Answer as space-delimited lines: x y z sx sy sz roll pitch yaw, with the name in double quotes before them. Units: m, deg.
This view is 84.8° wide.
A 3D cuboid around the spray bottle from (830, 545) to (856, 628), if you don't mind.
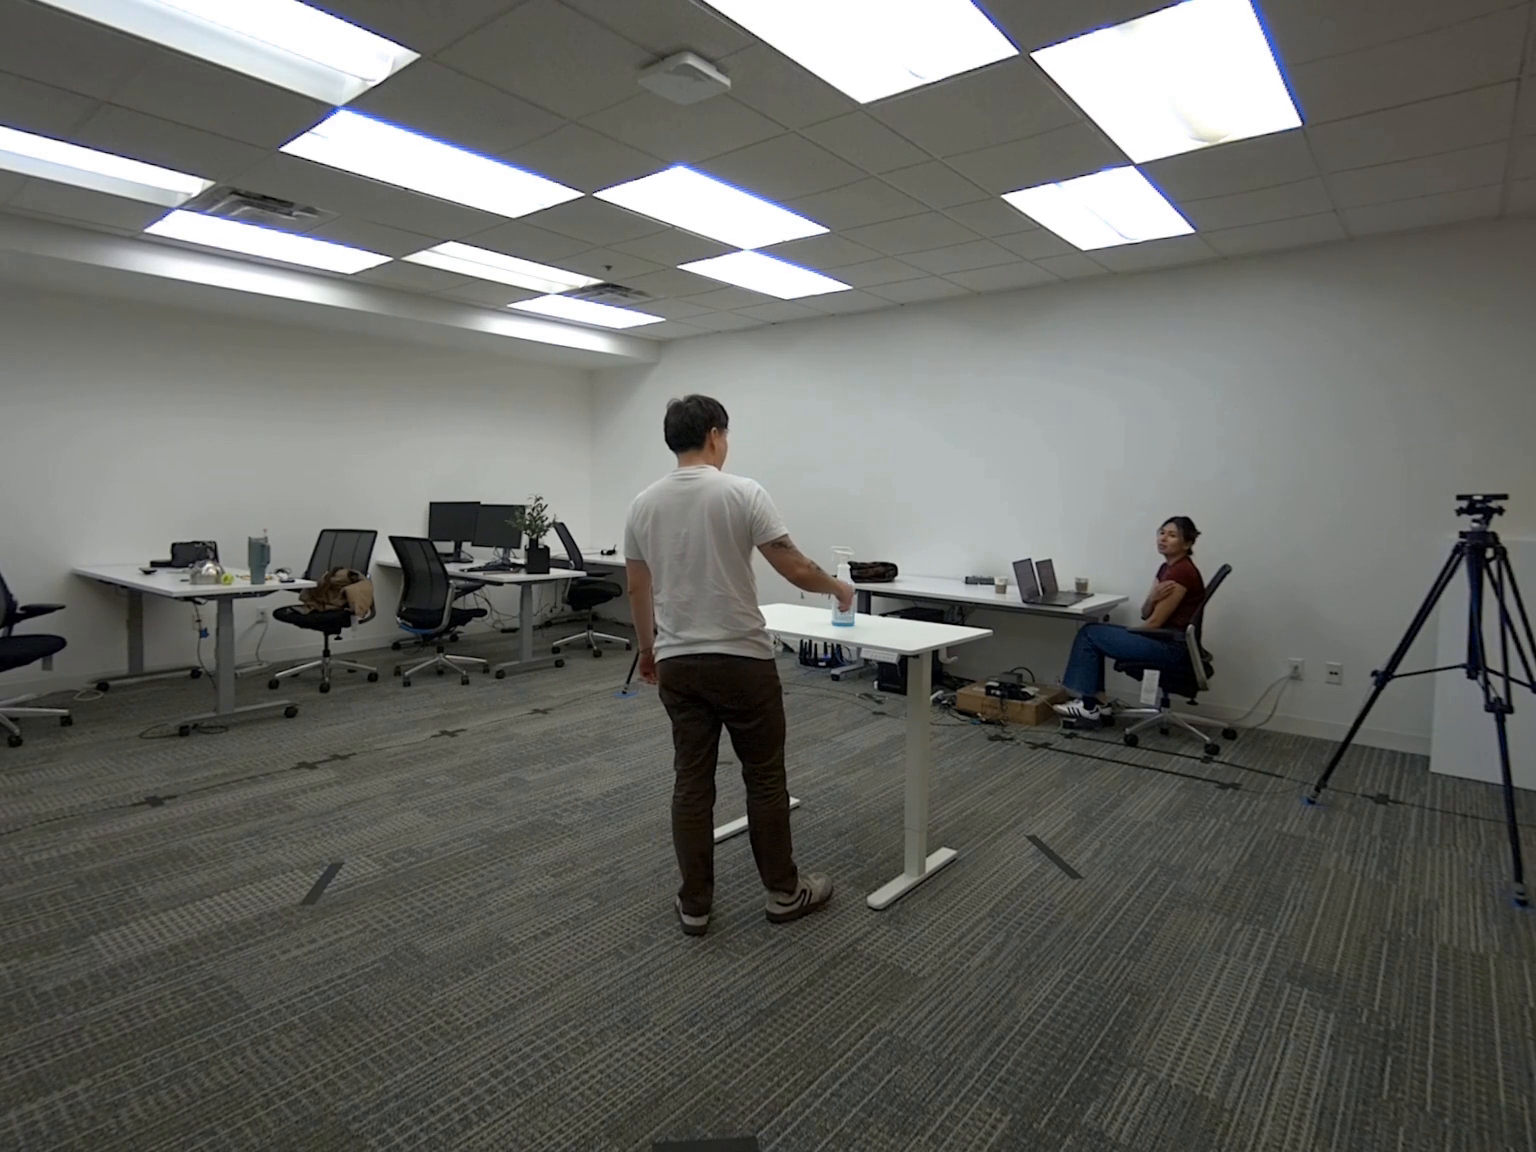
"spray bottle" 0.274 0.037 3.203 0.092 0.296 0.085 0 3 21
